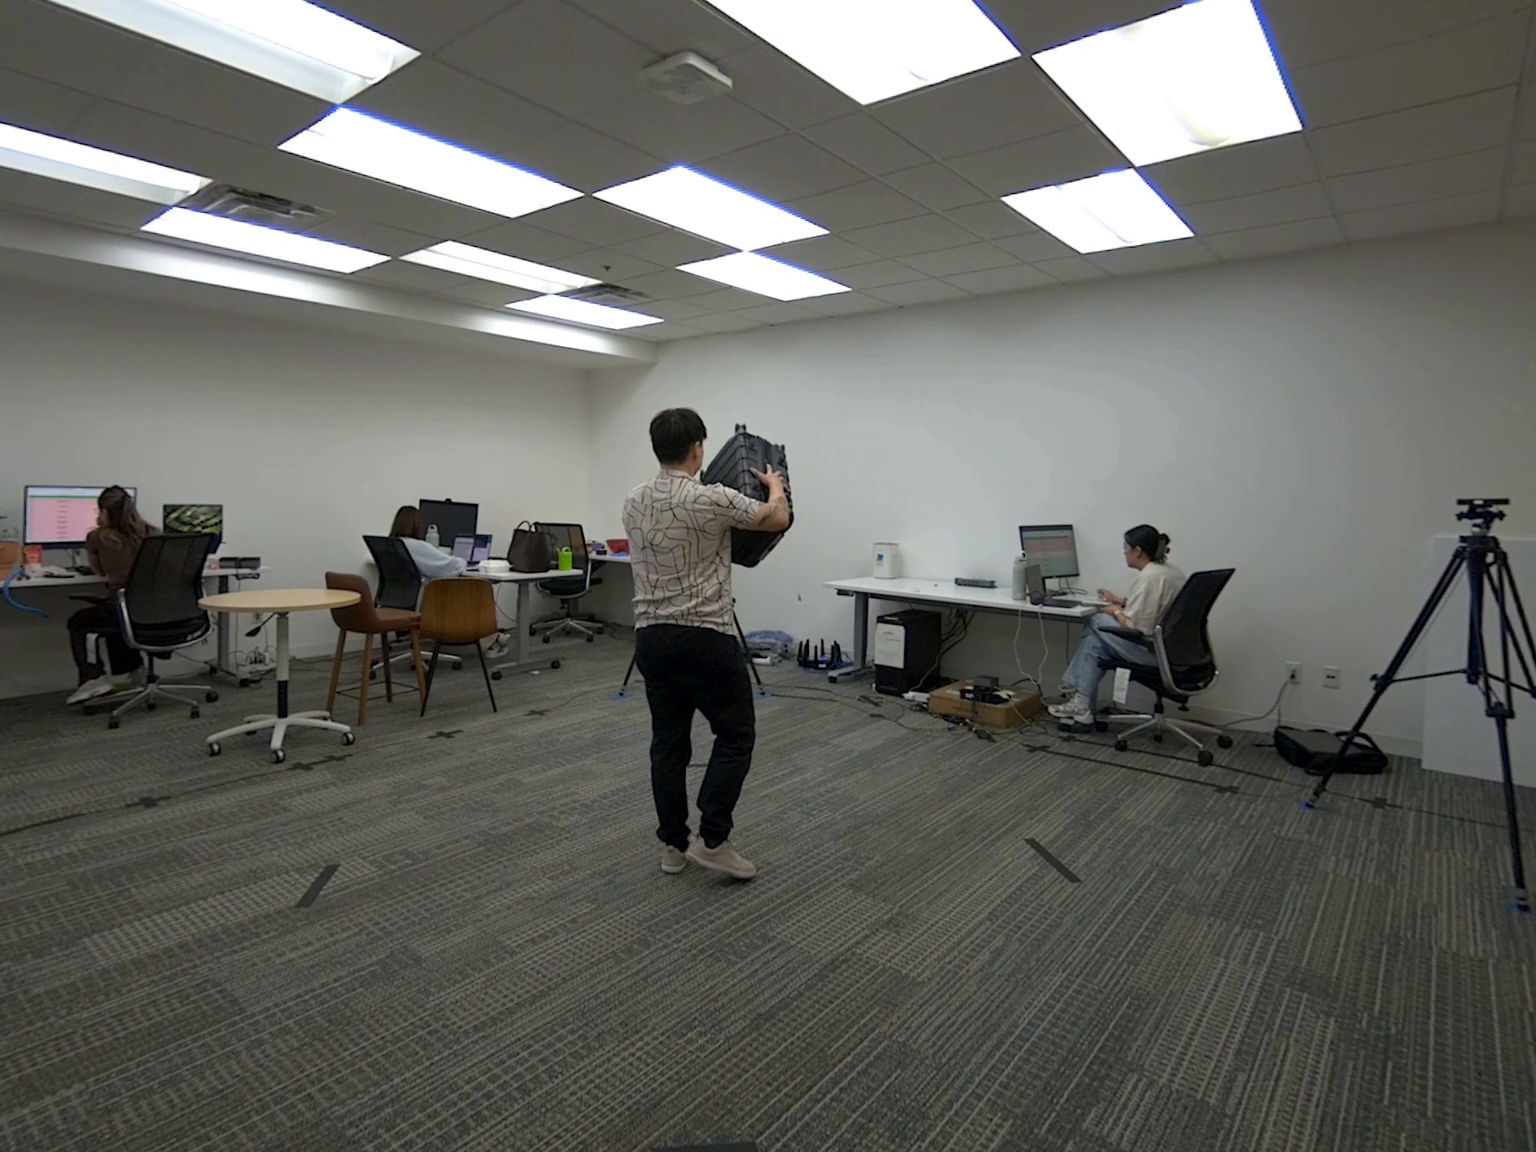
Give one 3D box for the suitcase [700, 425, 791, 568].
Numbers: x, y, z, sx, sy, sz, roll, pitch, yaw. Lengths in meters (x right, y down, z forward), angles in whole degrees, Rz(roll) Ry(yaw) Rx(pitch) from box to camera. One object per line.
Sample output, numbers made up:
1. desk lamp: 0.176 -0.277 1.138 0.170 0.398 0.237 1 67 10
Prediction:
1. suitcase: -0.104 -0.332 3.565 0.241 0.566 0.375 22 -51 -25
